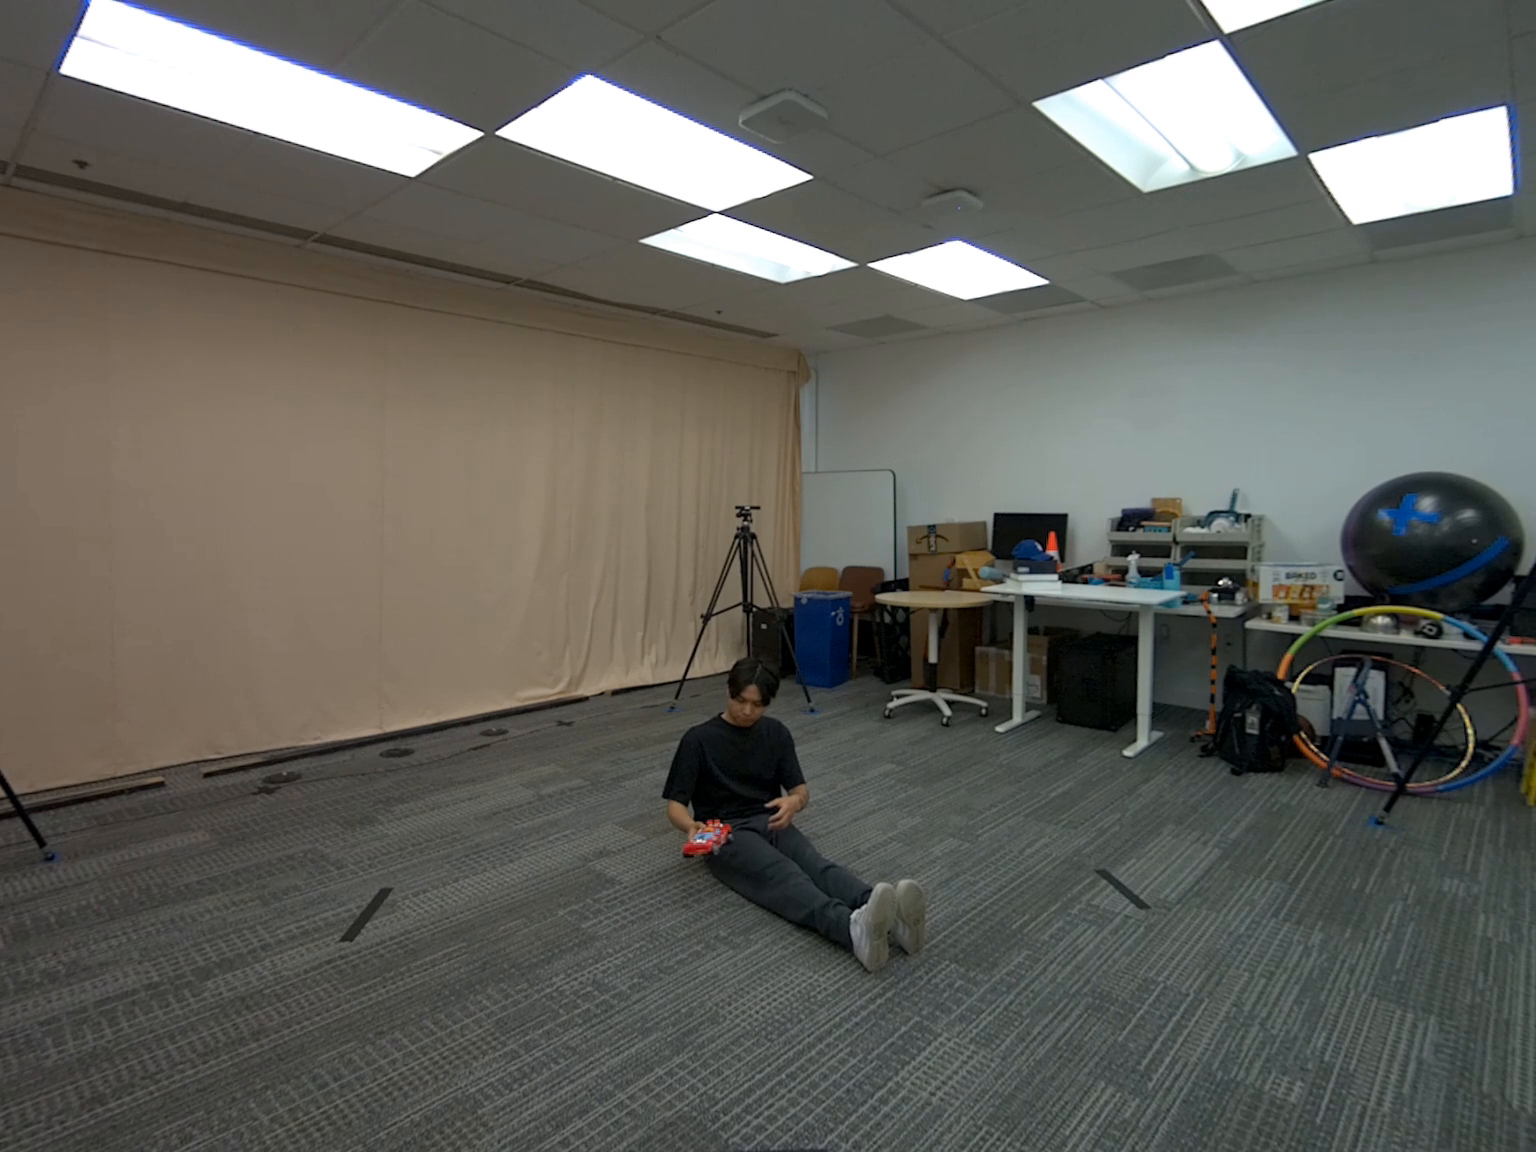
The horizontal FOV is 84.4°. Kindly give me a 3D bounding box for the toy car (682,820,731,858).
[{"bbox_3d":[-0.192,0.900,2.892,0.132,0.083,0.251,-12,4,17],"label":"toy car"}]
